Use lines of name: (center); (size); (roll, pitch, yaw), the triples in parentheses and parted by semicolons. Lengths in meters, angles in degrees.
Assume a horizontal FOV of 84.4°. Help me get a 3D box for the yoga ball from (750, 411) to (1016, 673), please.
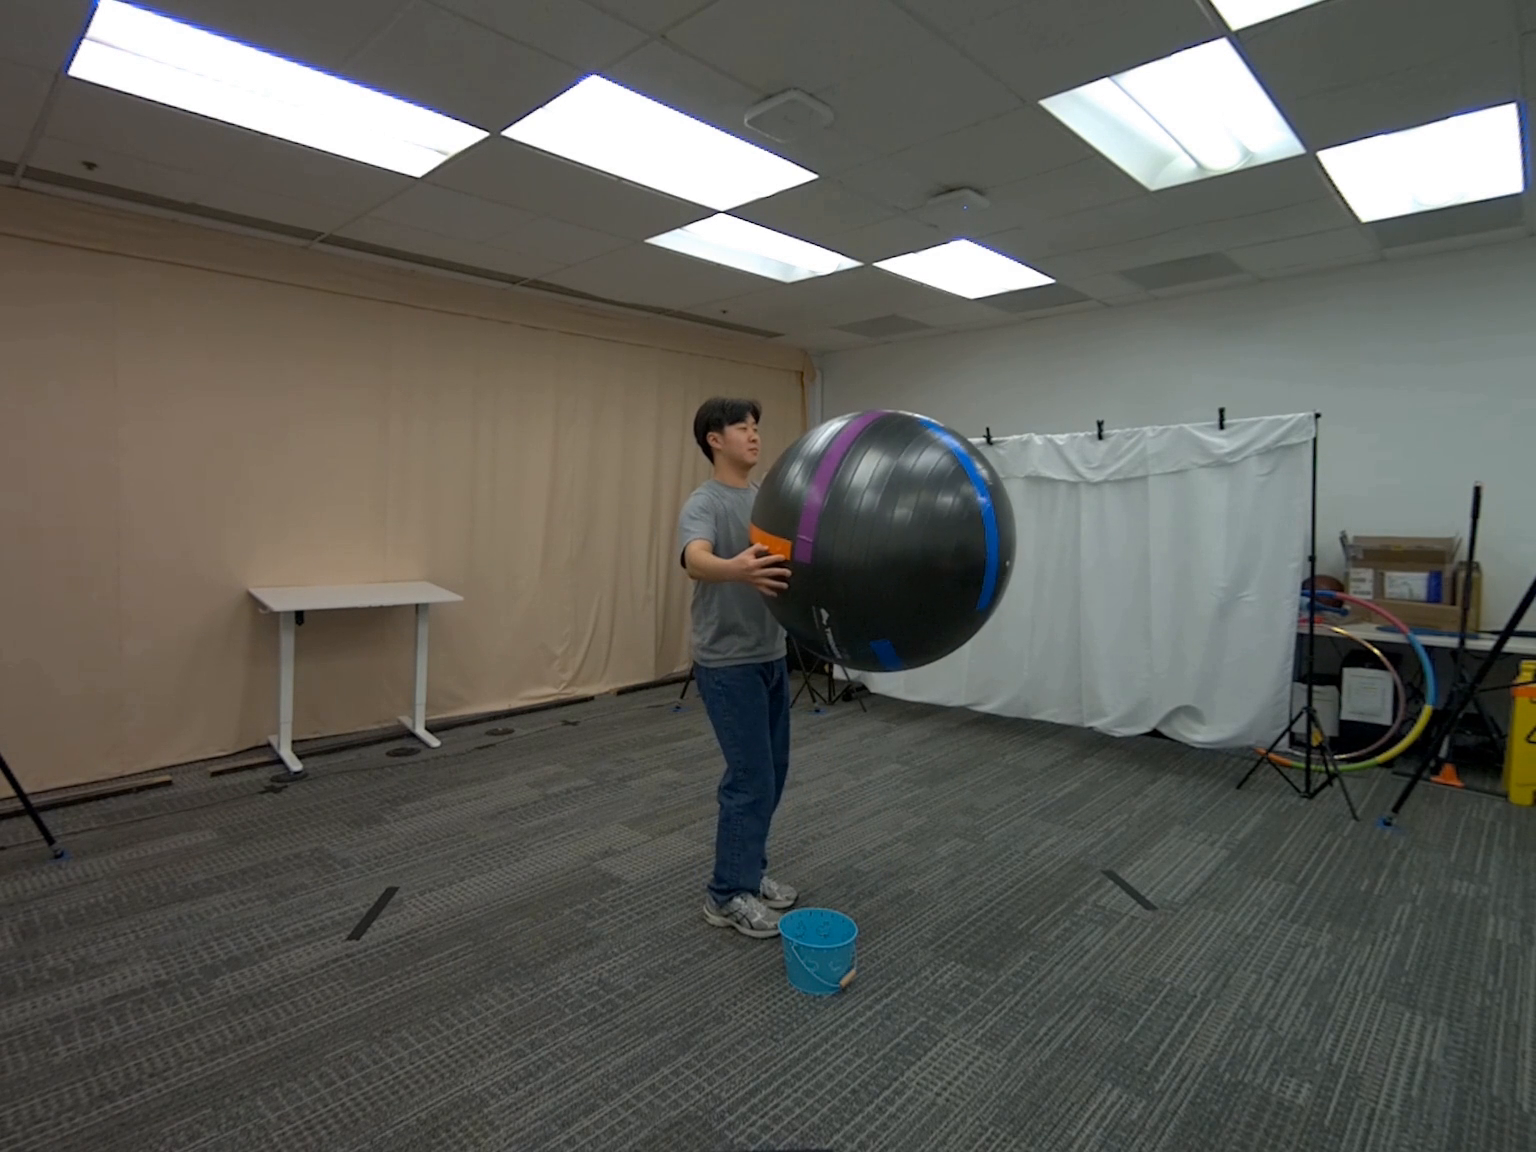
yoga ball: (0.326, -0.094, 2.450); (0.757, 0.756, 0.761); (0, 4, -2)
